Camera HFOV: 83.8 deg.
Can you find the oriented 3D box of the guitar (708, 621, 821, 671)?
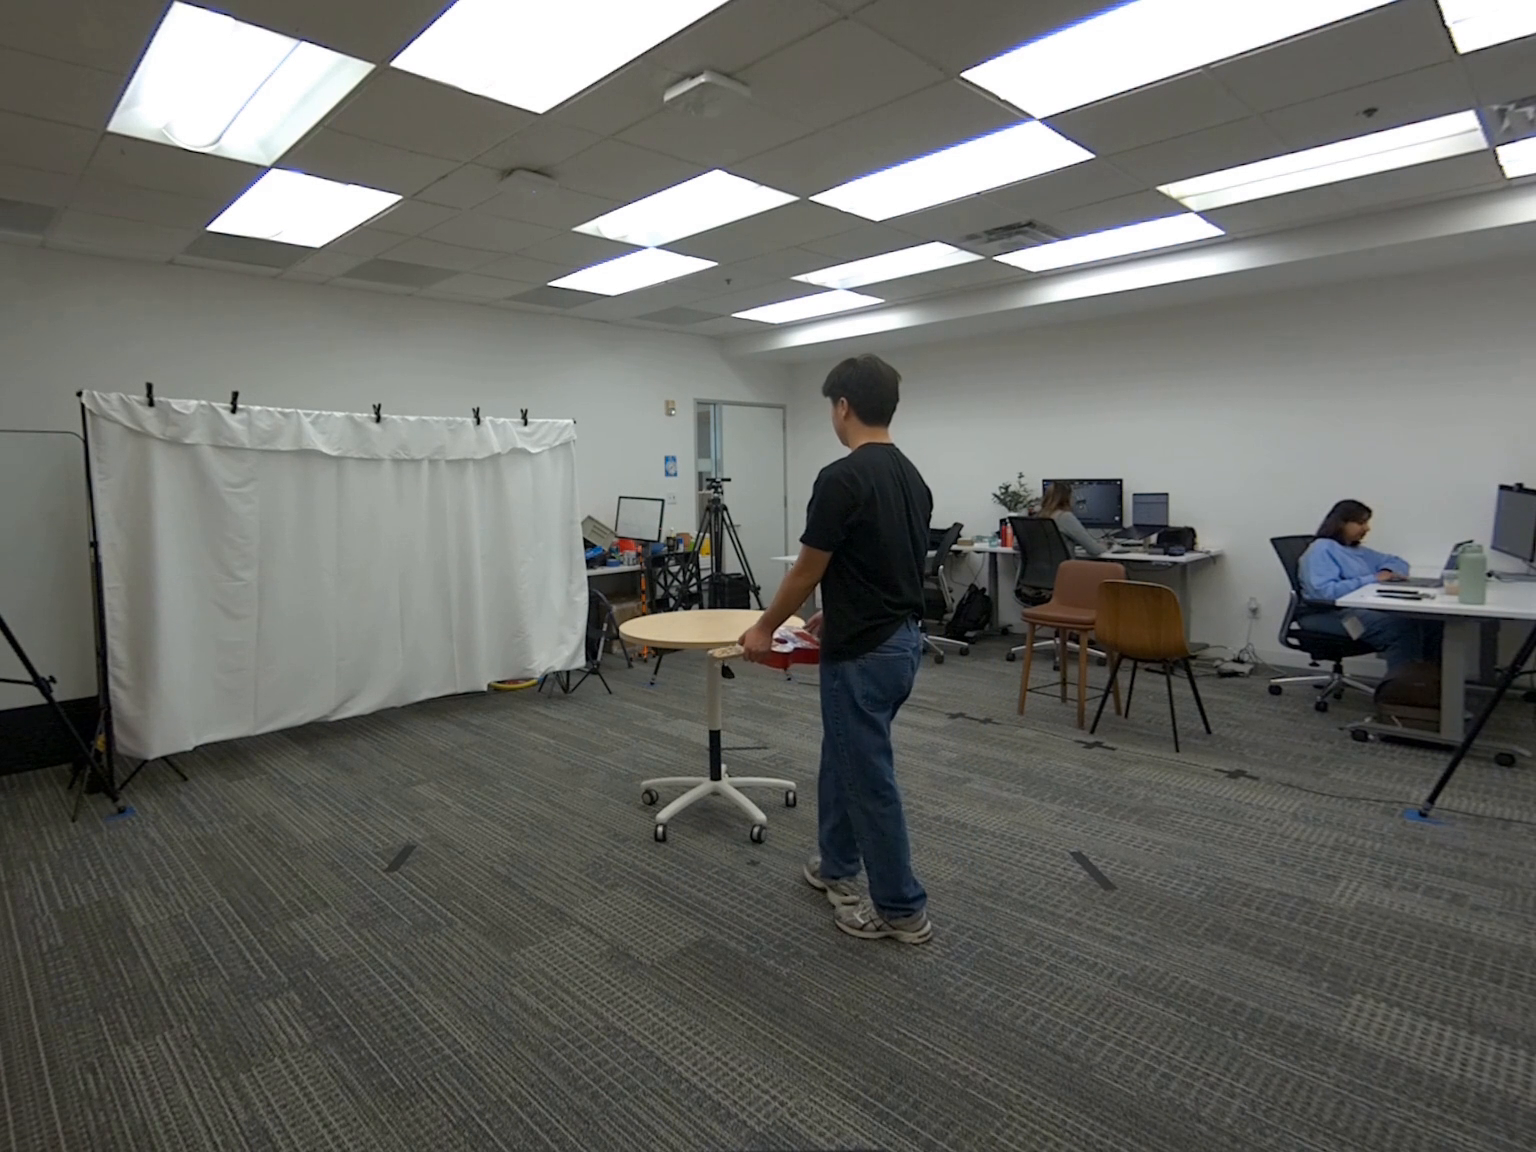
[{"bbox_3d":[-0.025,0.235,2.794,0.485,0.070,0.200,-1,18,-32],"label":"guitar"}]
